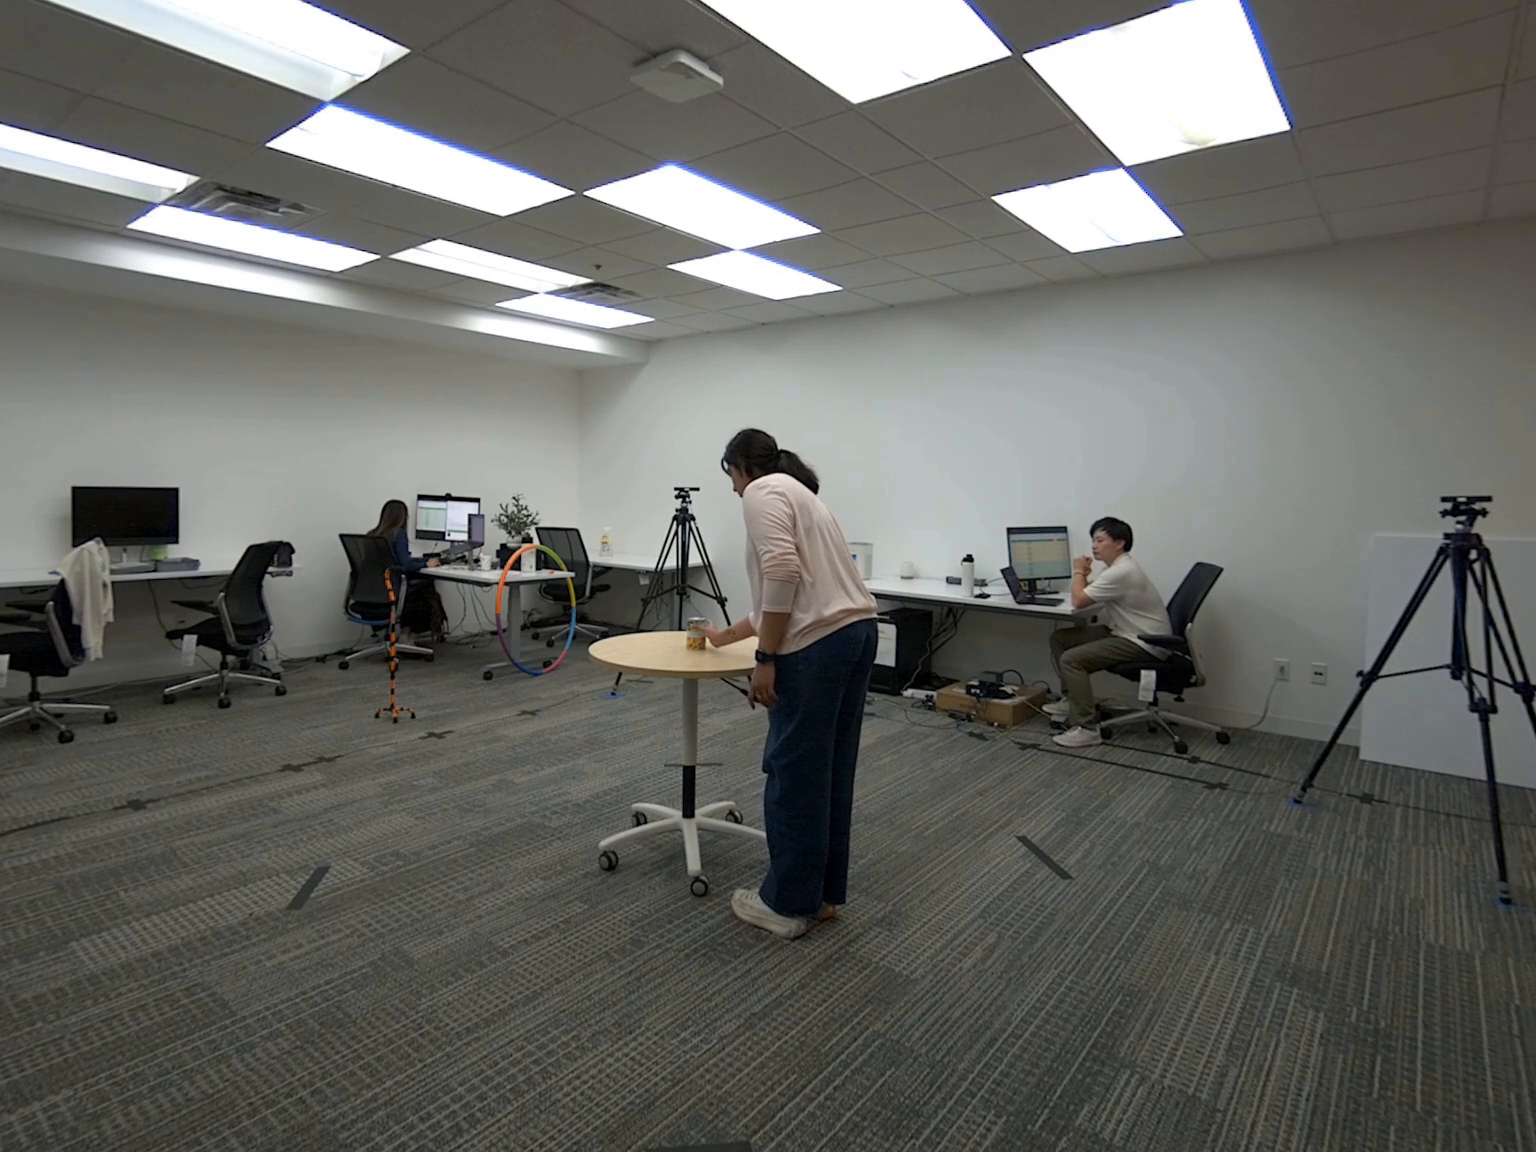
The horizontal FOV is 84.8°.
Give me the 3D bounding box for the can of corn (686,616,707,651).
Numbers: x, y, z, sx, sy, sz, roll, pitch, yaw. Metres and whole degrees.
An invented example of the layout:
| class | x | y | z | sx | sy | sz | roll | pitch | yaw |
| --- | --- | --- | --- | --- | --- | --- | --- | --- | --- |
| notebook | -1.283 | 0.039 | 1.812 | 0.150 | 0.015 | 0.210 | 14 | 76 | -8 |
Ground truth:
| class | x | y | z | sx | sy | sz | roll | pitch | yaw |
| --- | --- | --- | --- | --- | --- | --- | --- | --- | --- |
| can of corn | -0.282 | 0.215 | 3.222 | 0.074 | 0.111 | 0.074 | 4 | 1 | -2 |
